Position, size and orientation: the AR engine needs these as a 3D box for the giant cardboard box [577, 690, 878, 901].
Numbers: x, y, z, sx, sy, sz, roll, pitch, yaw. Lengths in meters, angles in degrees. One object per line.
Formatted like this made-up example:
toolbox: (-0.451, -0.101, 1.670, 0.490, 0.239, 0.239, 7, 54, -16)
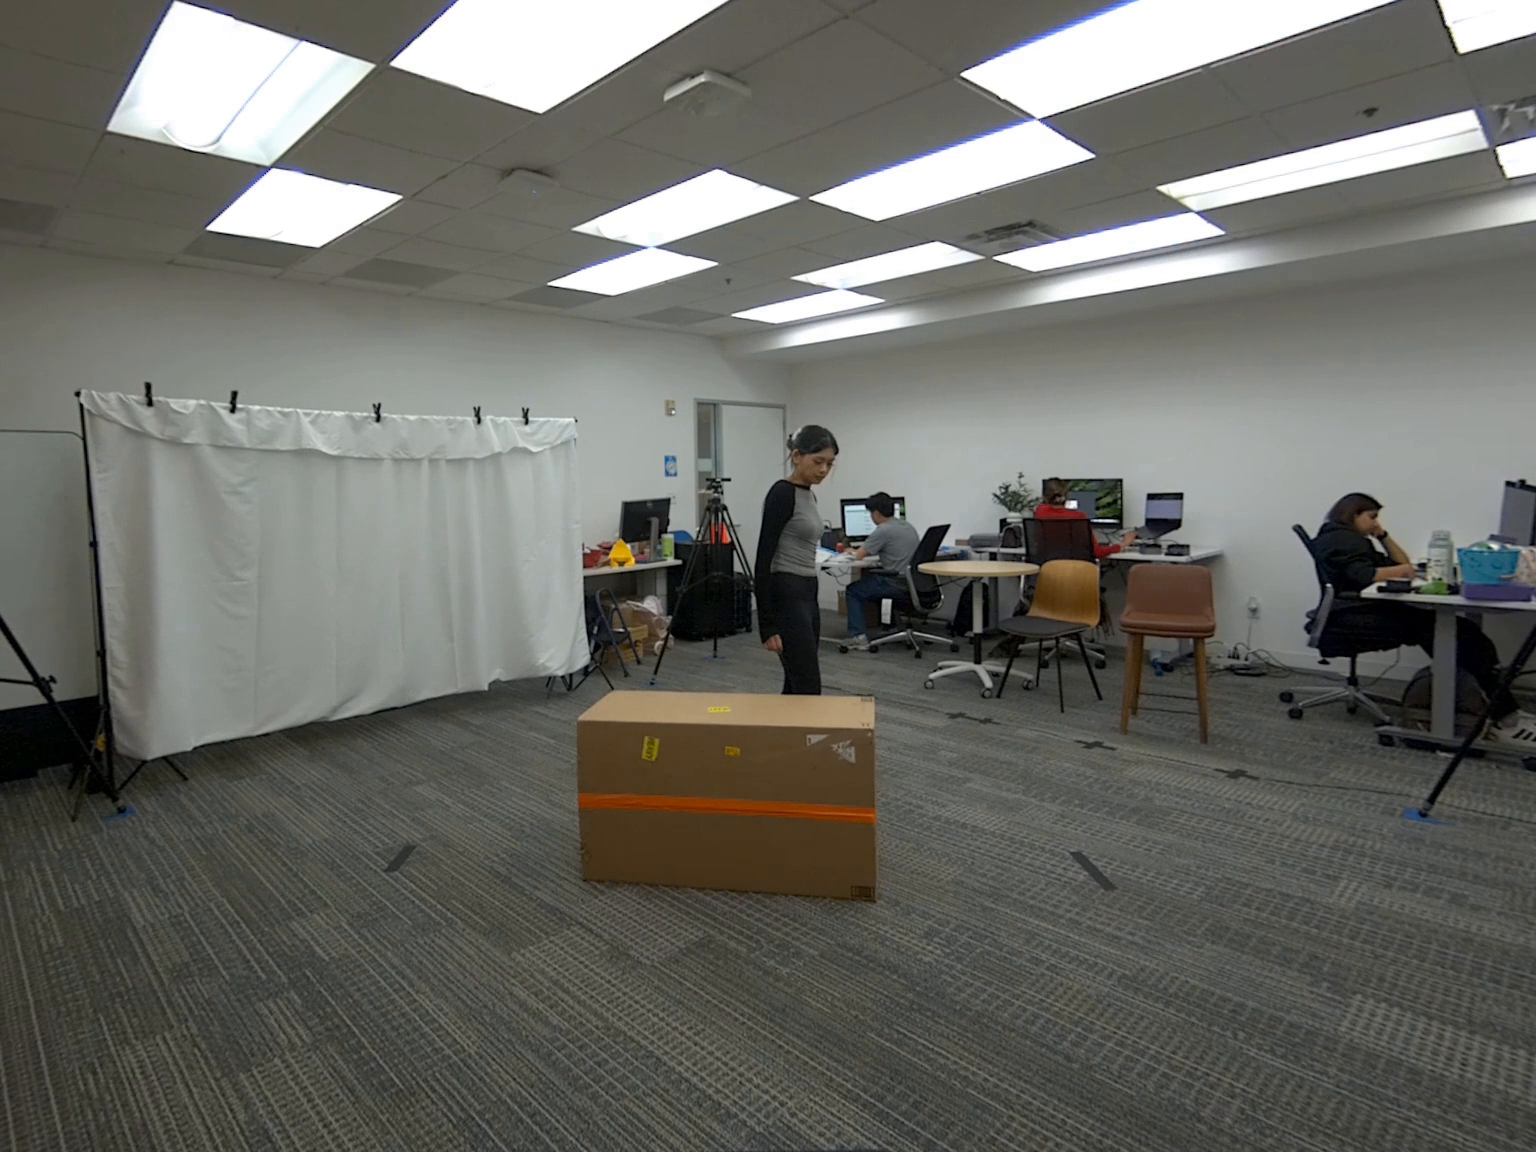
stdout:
giant cardboard box: (-0.128, 0.757, 3.084, 1.036, 0.576, 0.423, 0, 4, 10)
